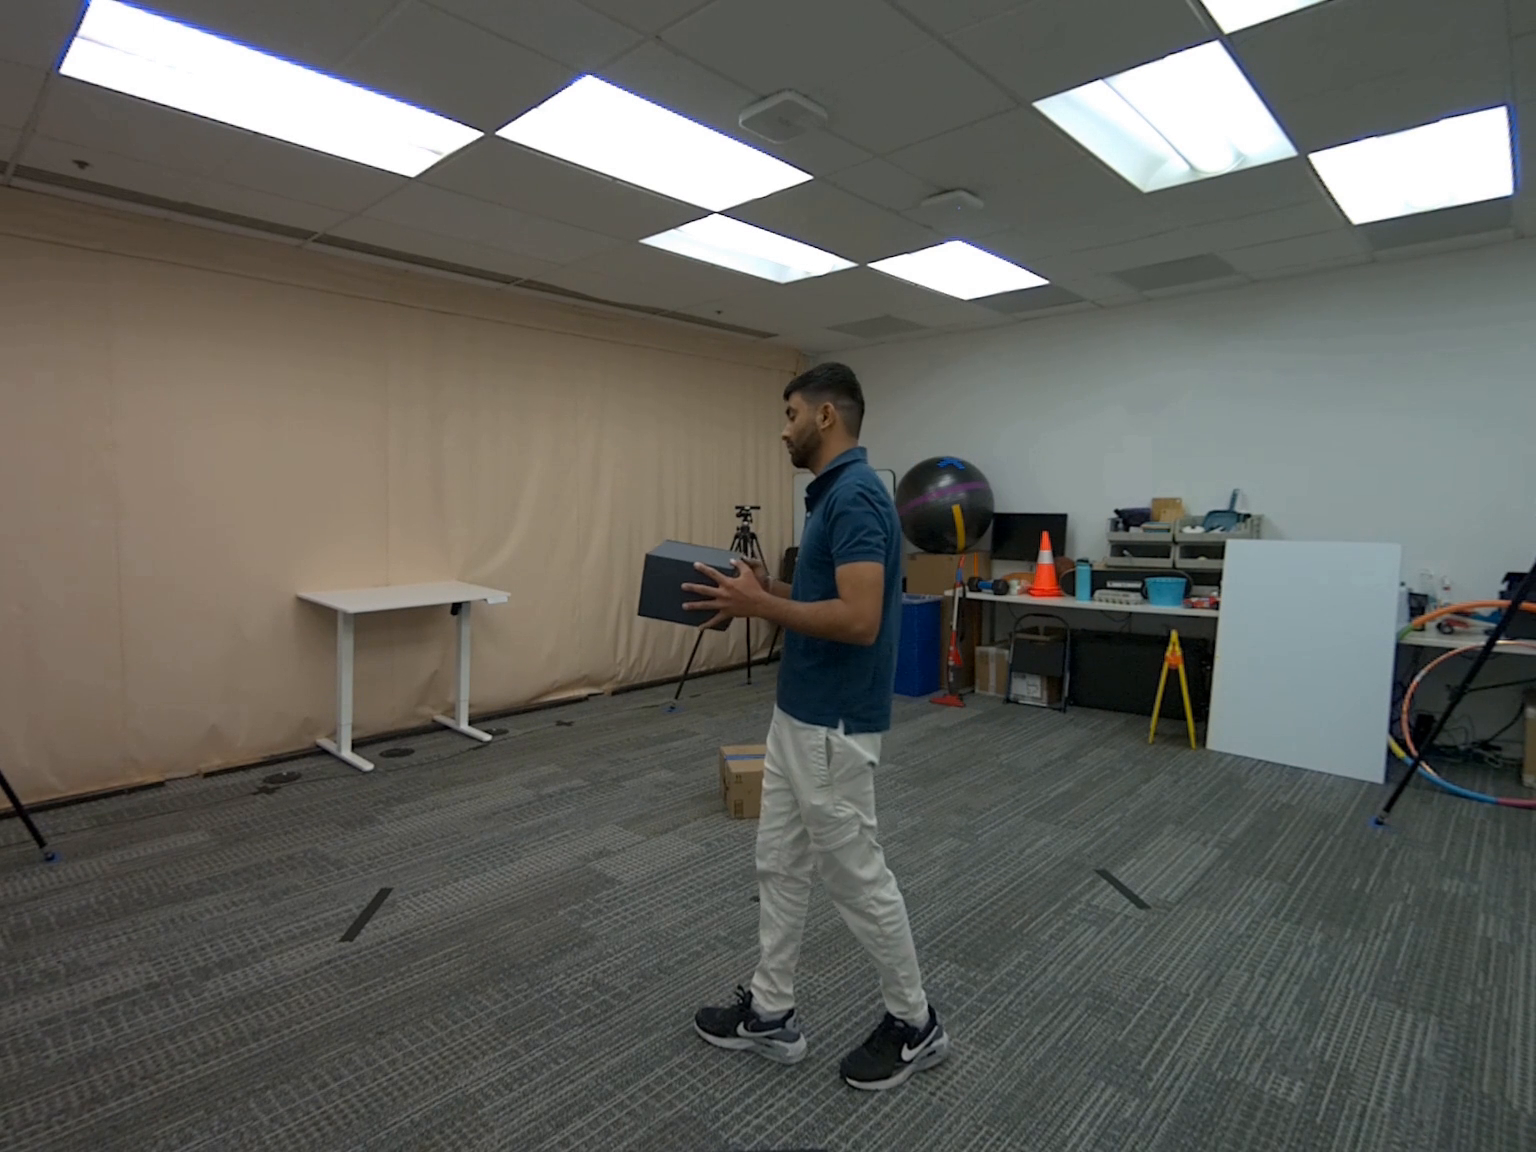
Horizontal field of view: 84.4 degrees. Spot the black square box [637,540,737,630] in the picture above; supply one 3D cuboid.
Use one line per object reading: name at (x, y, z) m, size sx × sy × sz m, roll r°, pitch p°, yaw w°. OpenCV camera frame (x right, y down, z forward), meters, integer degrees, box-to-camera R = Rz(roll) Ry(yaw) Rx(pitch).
black square box at (-0.184, 0.013, 2.092) m, size 0.220 × 0.155 × 0.226 m, roll 5°, pitch 10°, yaw 11°
